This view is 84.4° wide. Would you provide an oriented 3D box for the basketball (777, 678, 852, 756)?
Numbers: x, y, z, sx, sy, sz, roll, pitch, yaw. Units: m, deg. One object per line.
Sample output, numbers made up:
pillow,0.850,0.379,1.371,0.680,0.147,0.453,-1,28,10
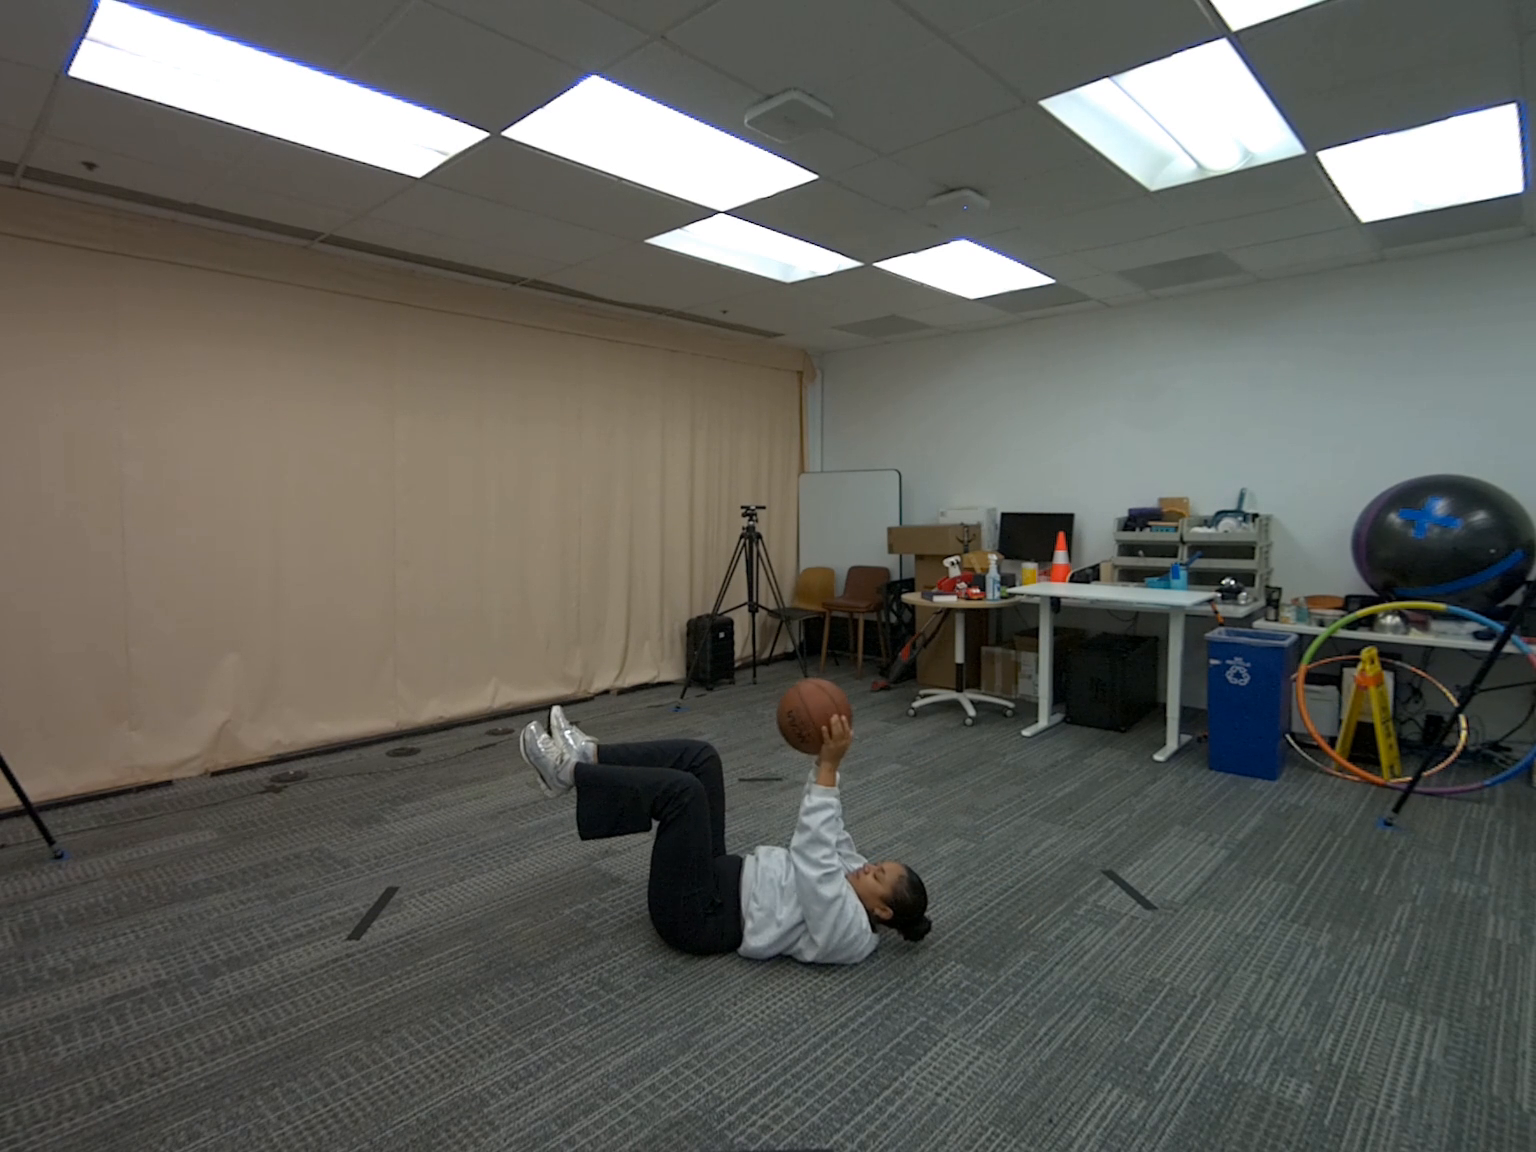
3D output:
basketball,0.151,0.459,2.650,0.235,0.235,0.237,1,4,-2
